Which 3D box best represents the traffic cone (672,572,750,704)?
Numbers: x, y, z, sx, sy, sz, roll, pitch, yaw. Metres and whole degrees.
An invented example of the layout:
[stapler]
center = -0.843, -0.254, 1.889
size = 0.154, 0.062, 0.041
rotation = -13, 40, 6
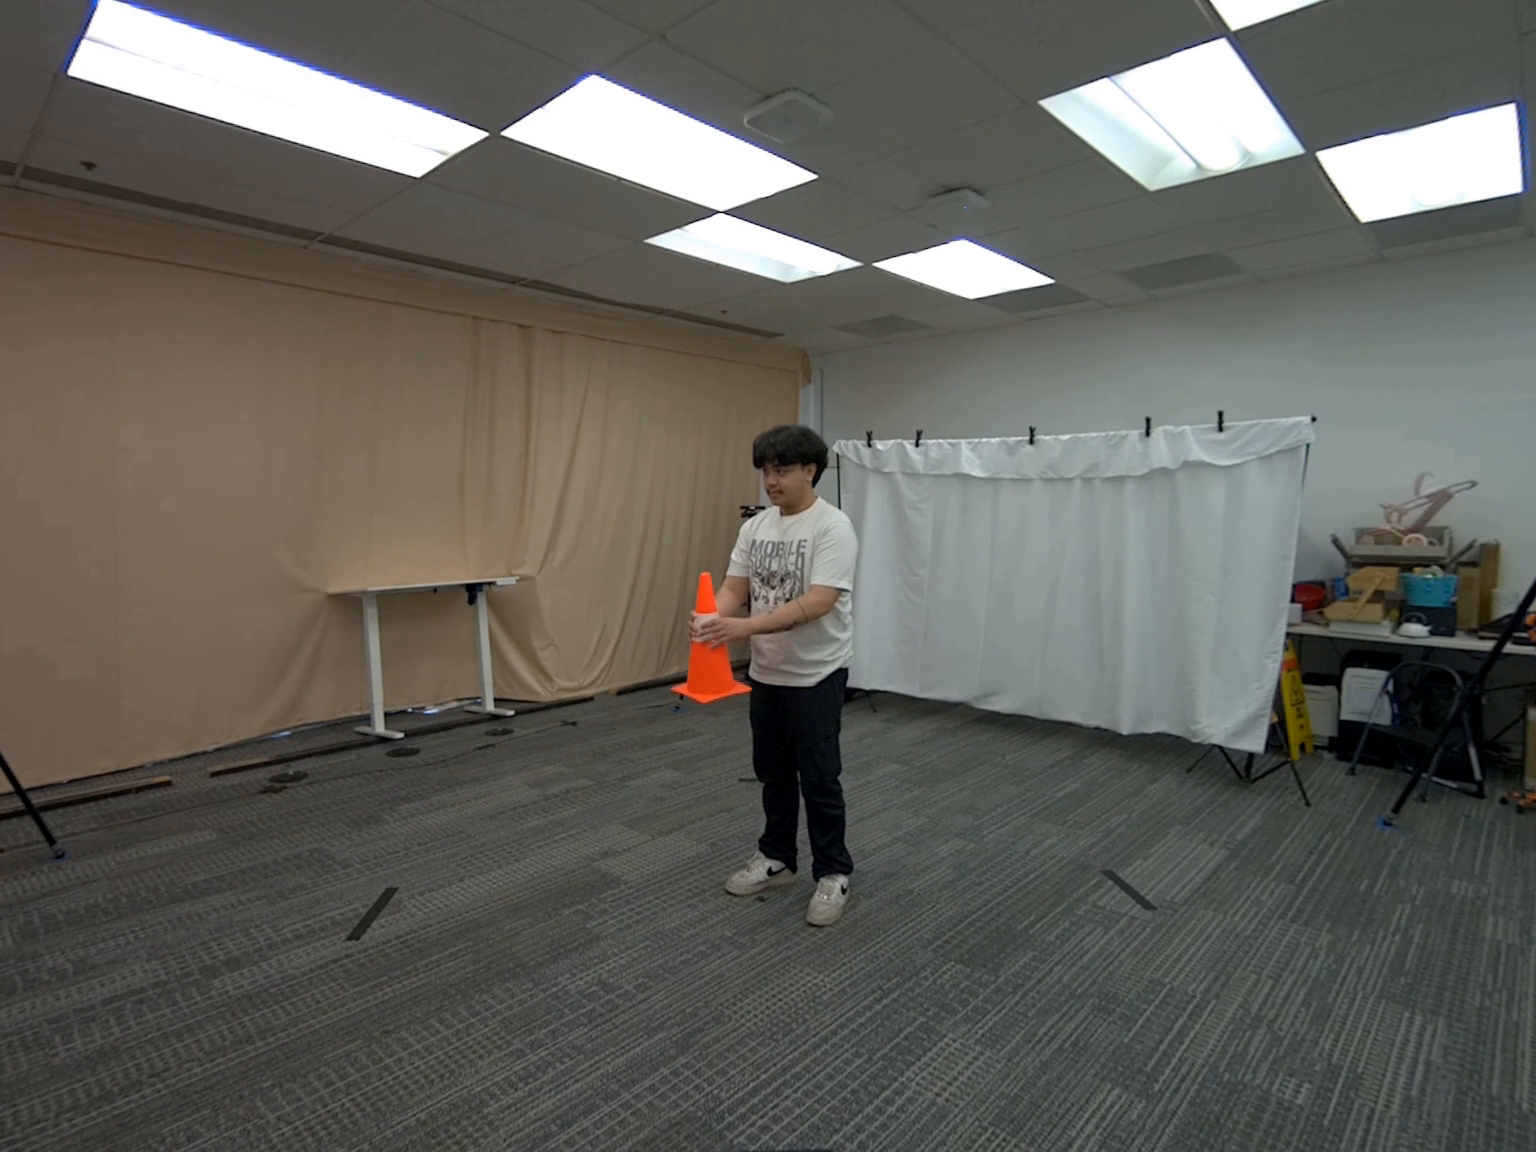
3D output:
[traffic cone]
center = -0.191, 0.184, 2.719
size = 0.212, 0.381, 0.197
rotation = 6, 11, 44
